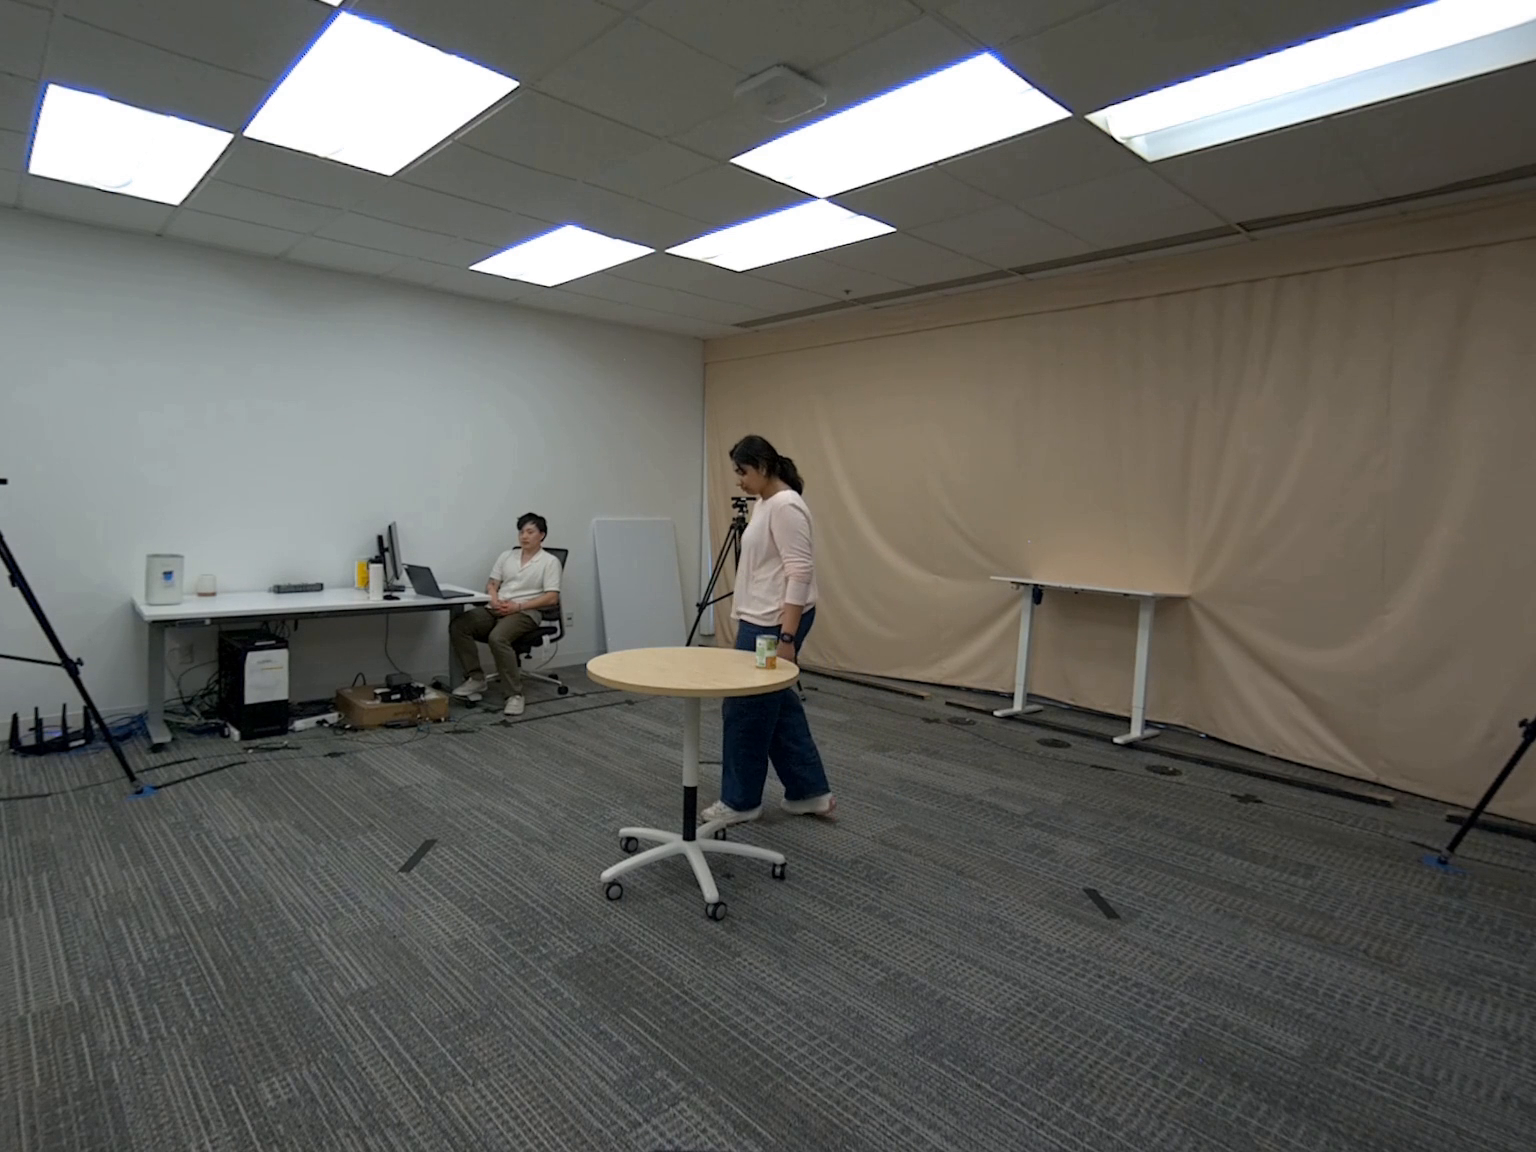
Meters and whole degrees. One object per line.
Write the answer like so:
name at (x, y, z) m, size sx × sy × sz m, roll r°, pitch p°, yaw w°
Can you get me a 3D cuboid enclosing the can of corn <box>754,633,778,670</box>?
can of corn at (-0.020, 0.279, 3.047) m, size 0.074 × 0.111 × 0.074 m, roll 4°, pitch 2°, yaw -2°
